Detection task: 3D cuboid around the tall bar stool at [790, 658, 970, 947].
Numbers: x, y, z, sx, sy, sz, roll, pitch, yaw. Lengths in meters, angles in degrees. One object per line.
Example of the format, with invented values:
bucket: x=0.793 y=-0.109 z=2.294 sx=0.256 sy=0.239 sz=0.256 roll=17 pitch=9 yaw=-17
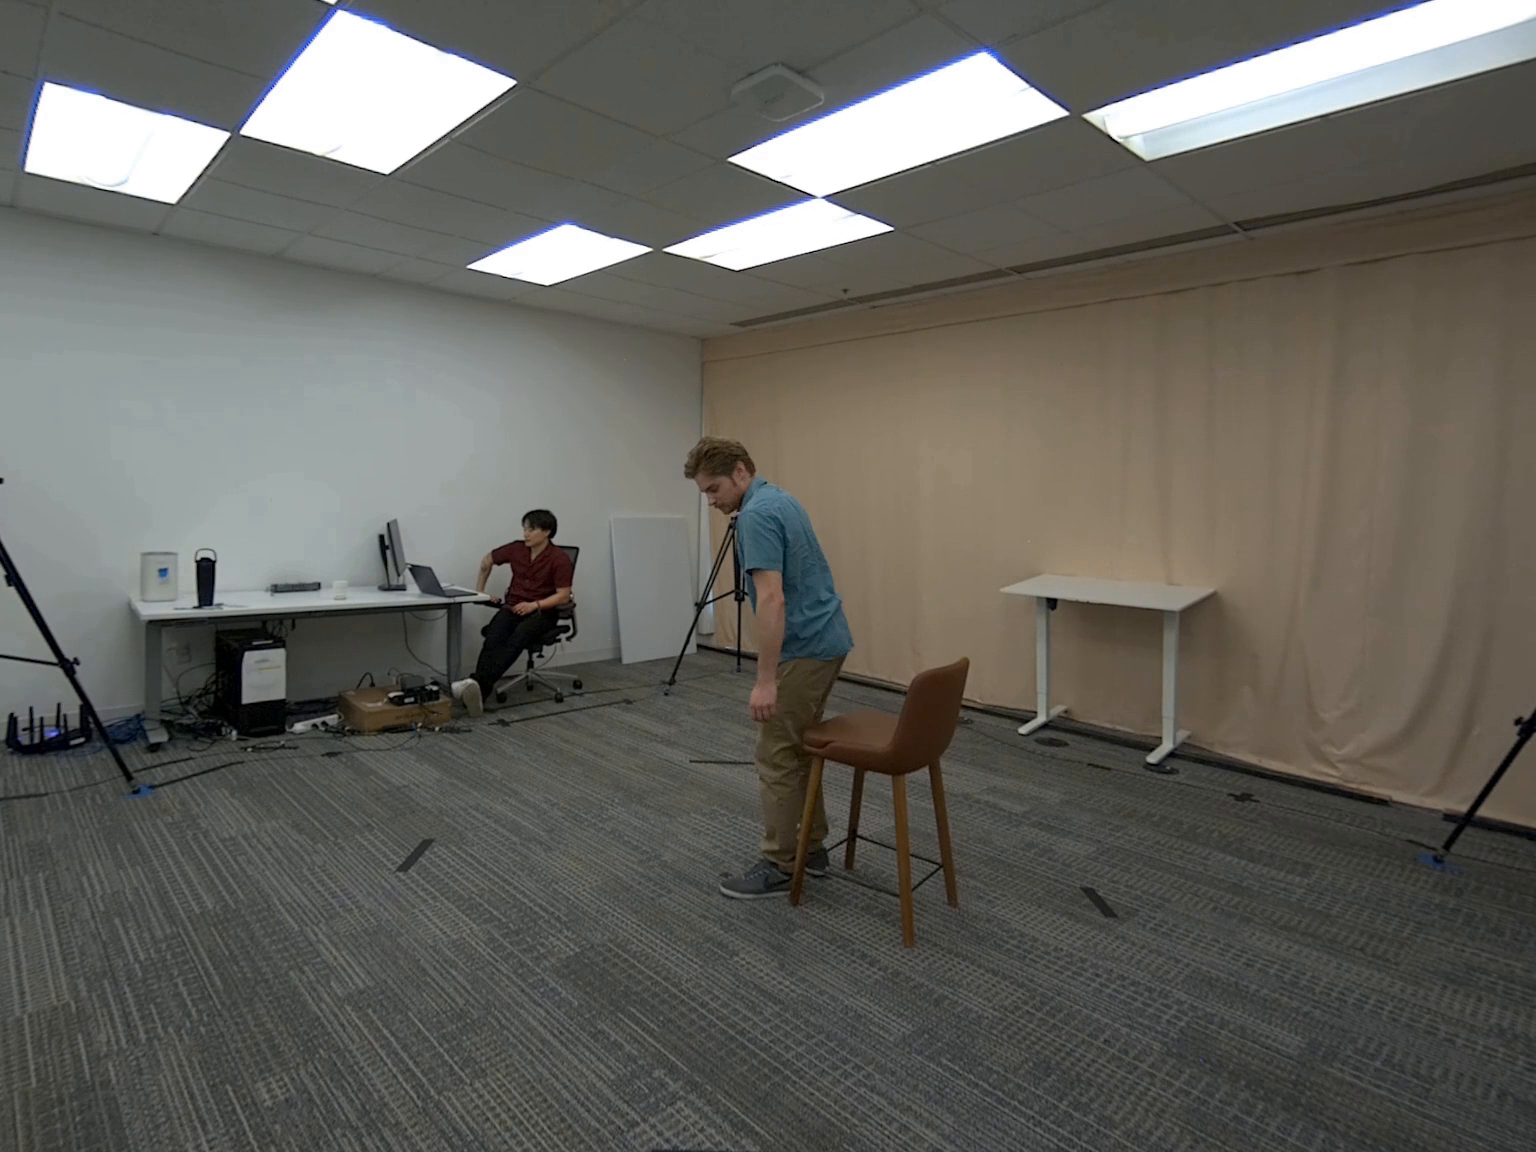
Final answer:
tall bar stool: x=0.383 y=0.702 z=2.875 sx=0.479 sy=0.886 sz=0.447 roll=7 pitch=6 yaw=36
